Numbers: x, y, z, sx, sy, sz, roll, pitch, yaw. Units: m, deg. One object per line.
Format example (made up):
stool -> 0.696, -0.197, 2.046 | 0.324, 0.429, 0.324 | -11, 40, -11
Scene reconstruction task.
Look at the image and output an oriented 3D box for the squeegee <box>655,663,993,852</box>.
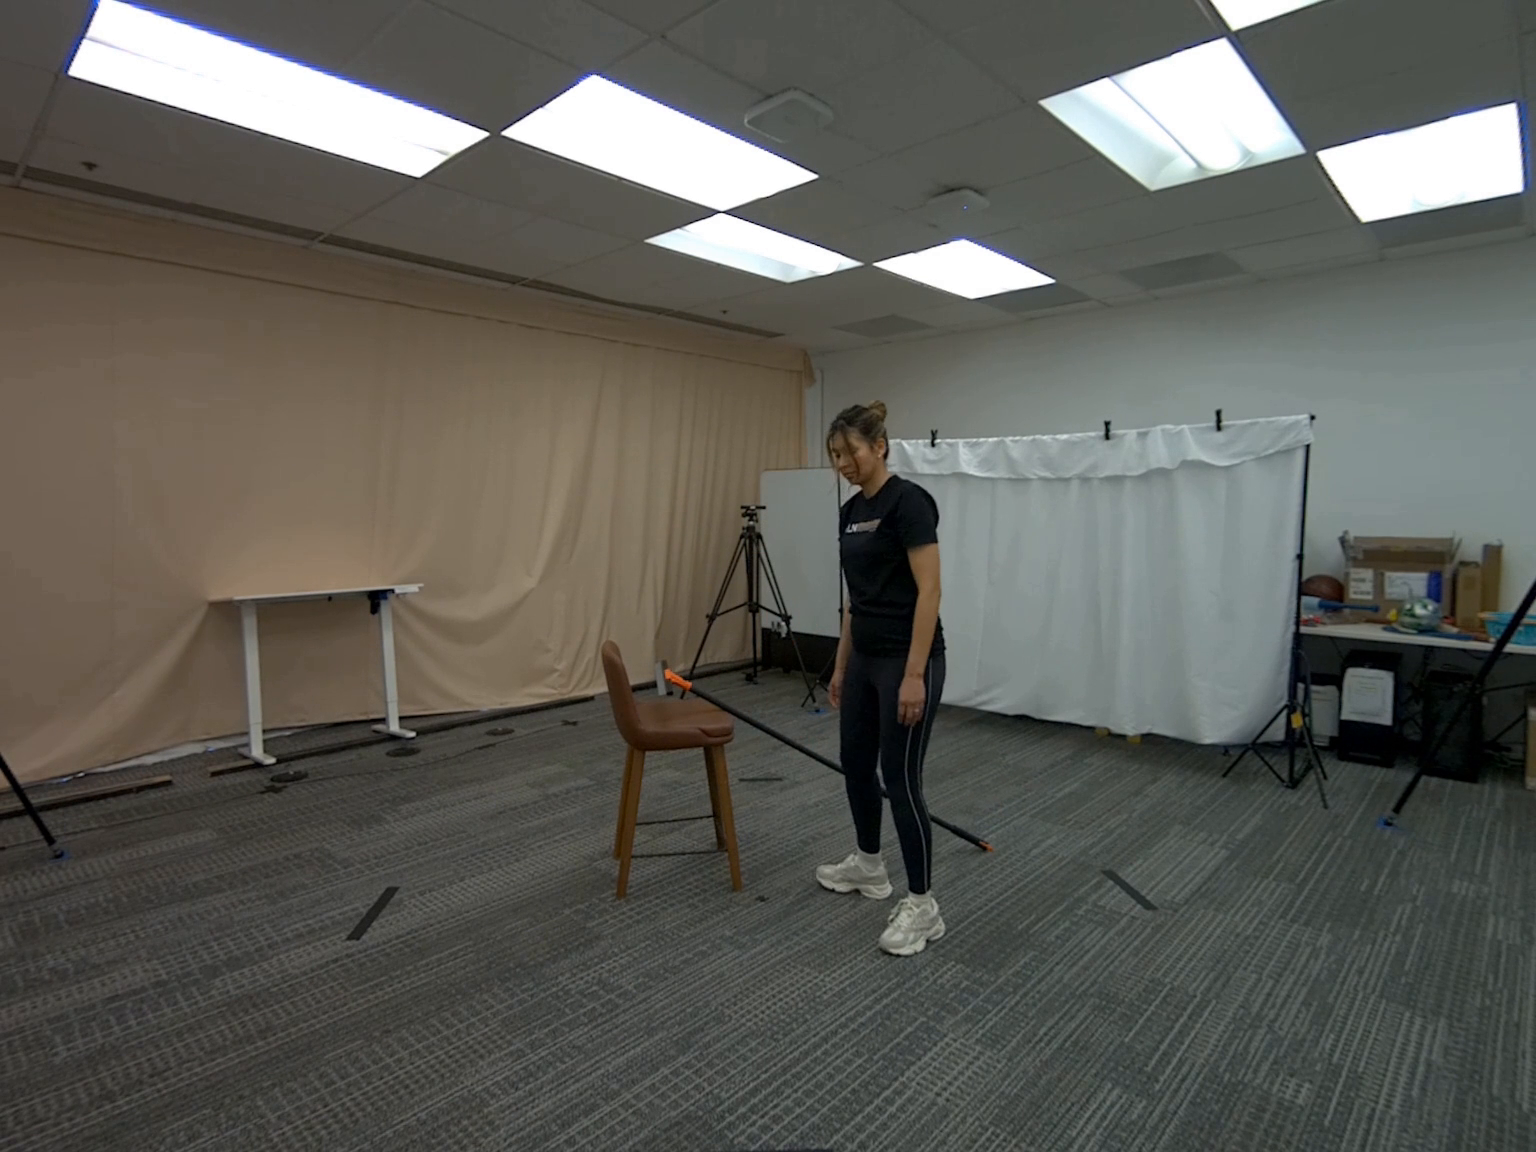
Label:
squeegee -> 0.246, 0.731, 3.296 | 1.519, 0.053, 0.443 | 28, -6, -10
